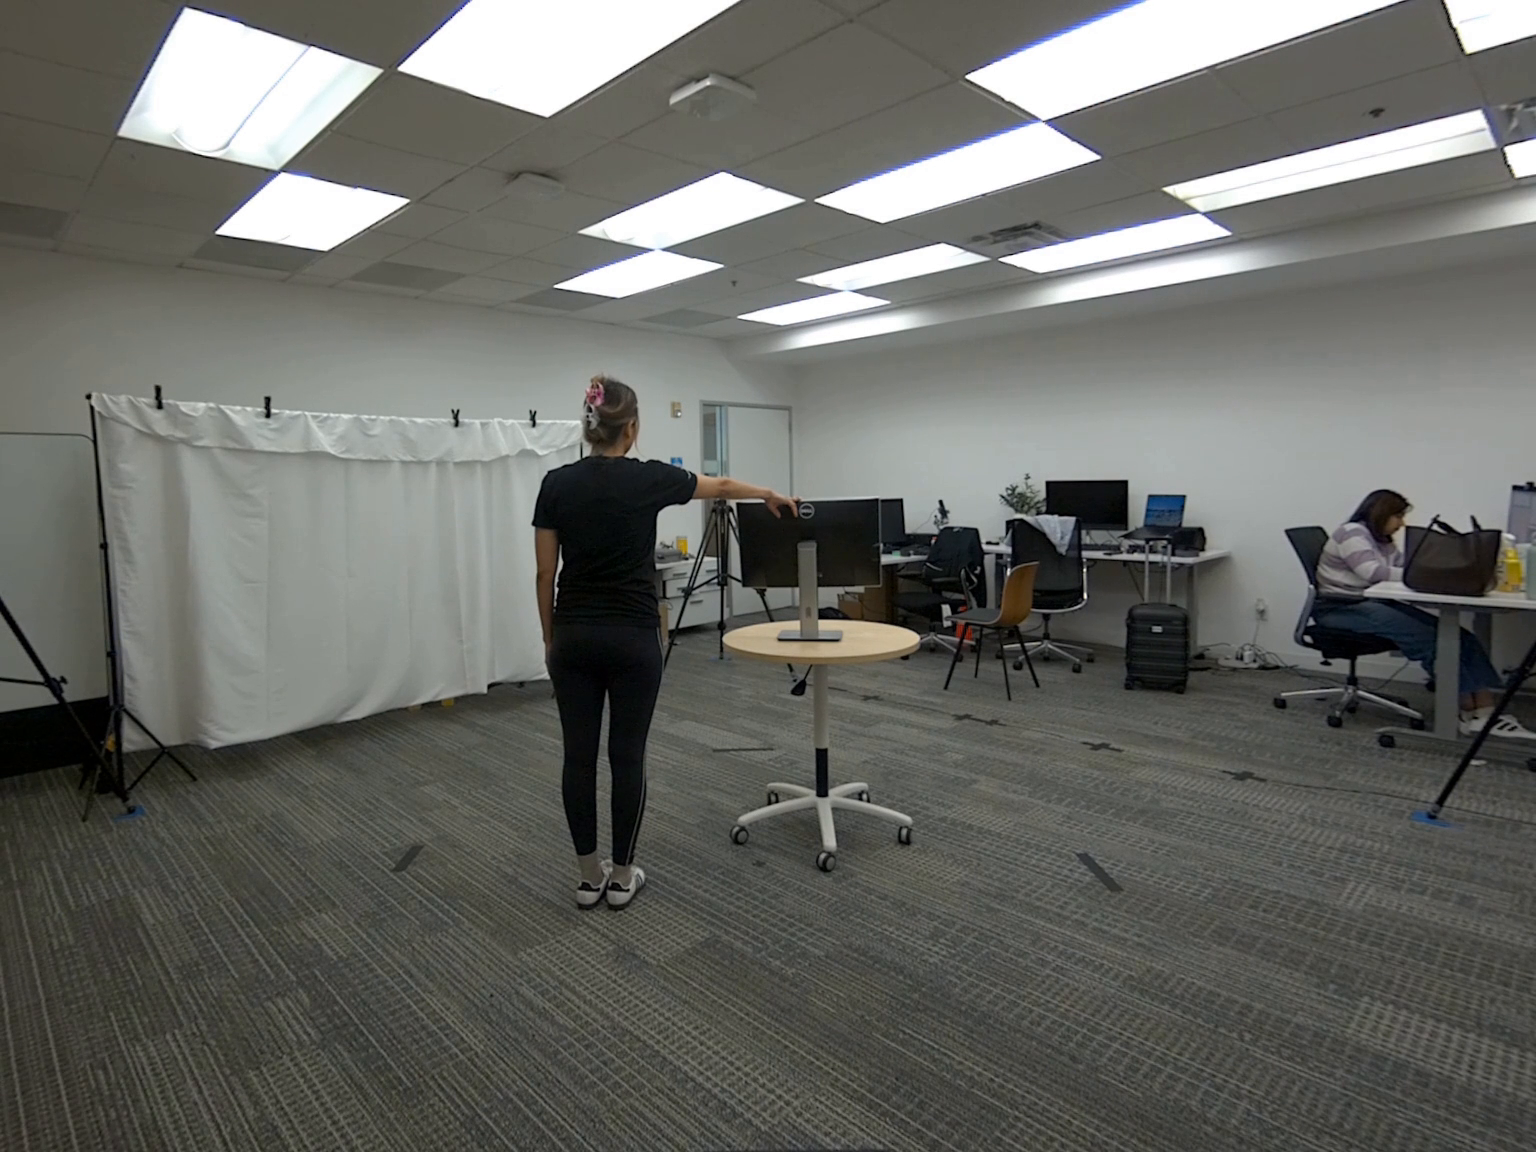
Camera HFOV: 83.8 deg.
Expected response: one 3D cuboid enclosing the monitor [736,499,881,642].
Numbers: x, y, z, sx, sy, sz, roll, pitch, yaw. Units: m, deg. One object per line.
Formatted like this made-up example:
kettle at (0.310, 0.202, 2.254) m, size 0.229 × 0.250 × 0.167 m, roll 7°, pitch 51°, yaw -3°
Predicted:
monitor at (0.156, -0.022, 3.329) m, size 0.544 × 0.521 × 0.186 m, roll -1°, pitch 4°, yaw 9°
